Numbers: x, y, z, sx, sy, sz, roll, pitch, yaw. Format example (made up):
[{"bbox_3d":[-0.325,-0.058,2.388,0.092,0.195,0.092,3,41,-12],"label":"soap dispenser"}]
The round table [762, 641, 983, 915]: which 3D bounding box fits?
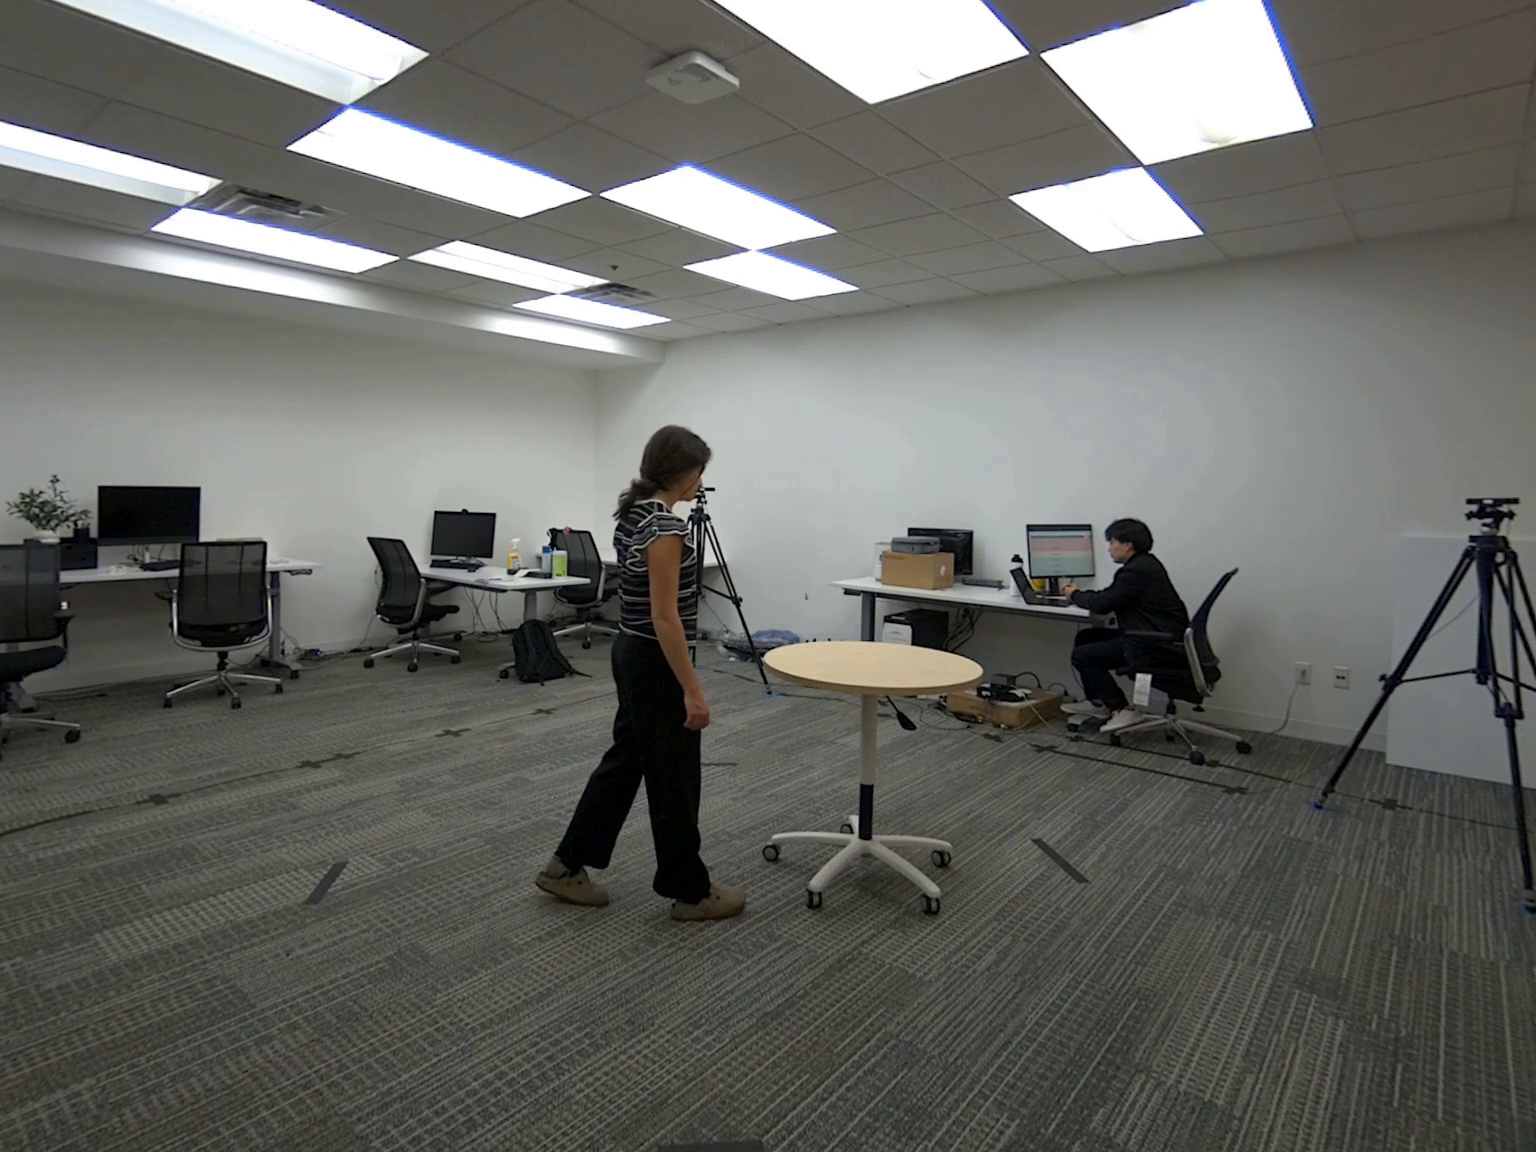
[{"bbox_3d":[0.347,0.690,3.050,0.784,0.784,0.789,1,4,-2],"label":"round table"}]
